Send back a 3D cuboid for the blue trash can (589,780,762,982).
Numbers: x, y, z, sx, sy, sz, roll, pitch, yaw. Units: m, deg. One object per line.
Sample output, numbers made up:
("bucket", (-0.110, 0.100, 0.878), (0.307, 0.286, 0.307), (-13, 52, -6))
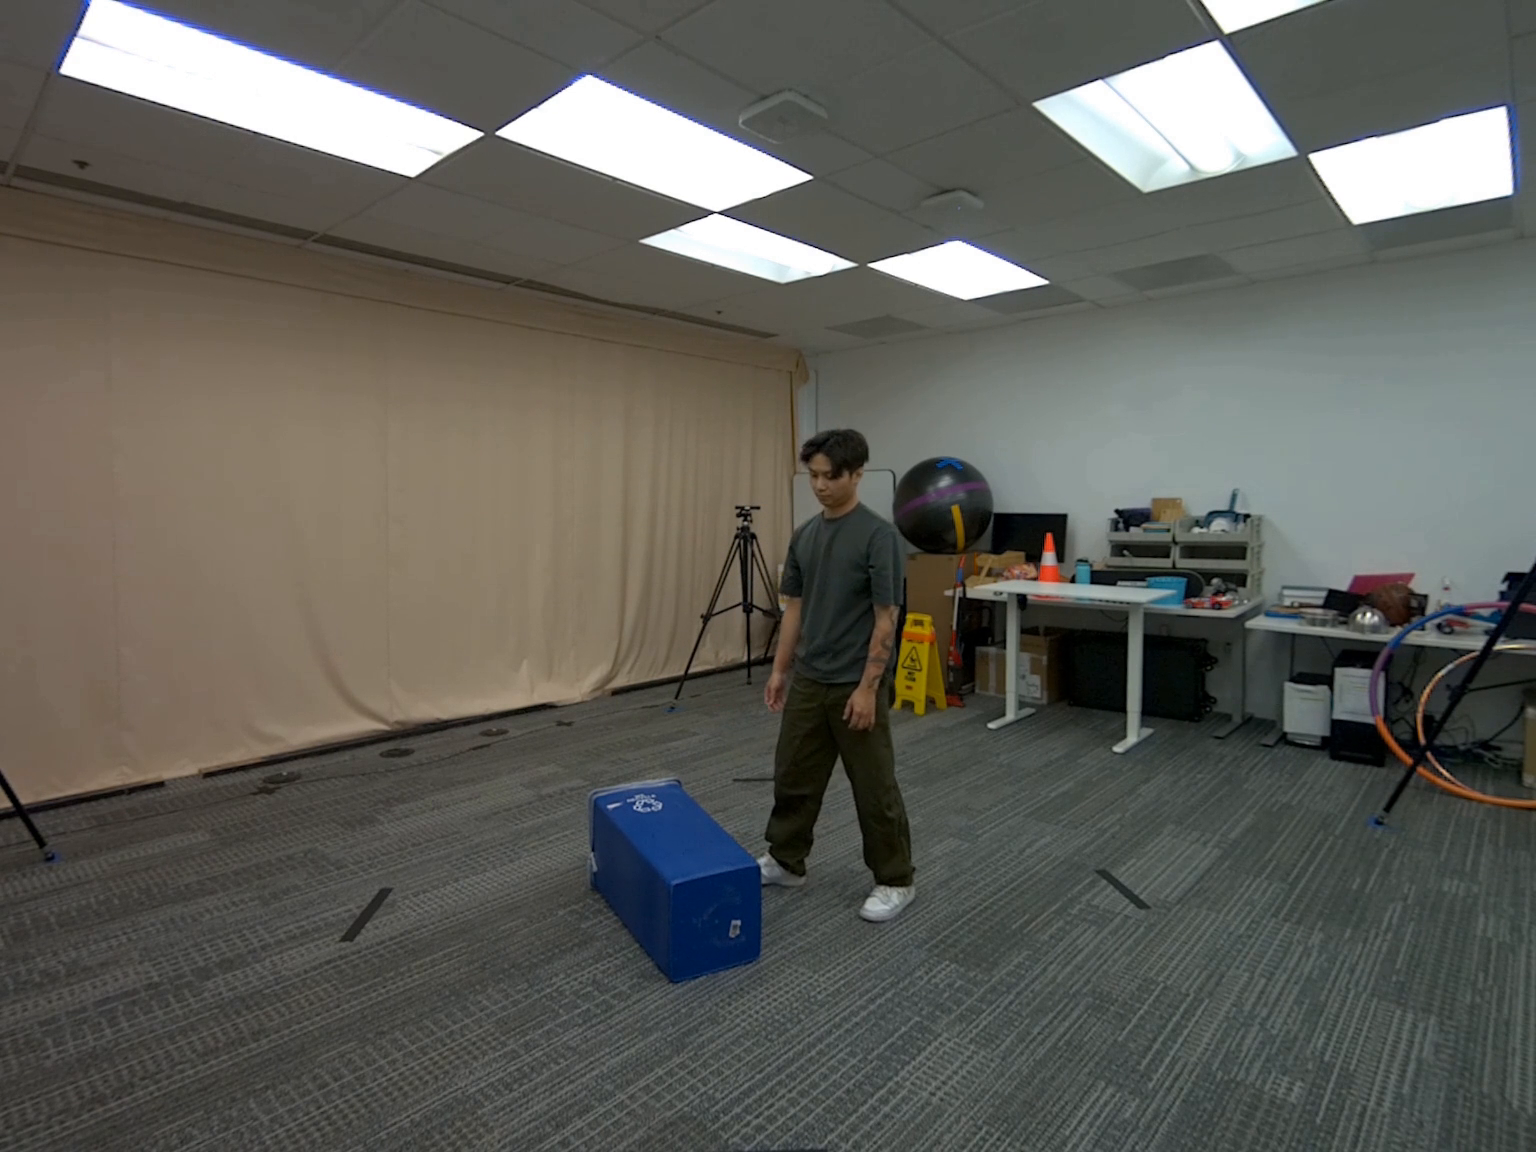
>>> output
("blue trash can", (-0.325, 0.996, 2.817), (0.369, 0.373, 0.734), (-2, 7, -28))
